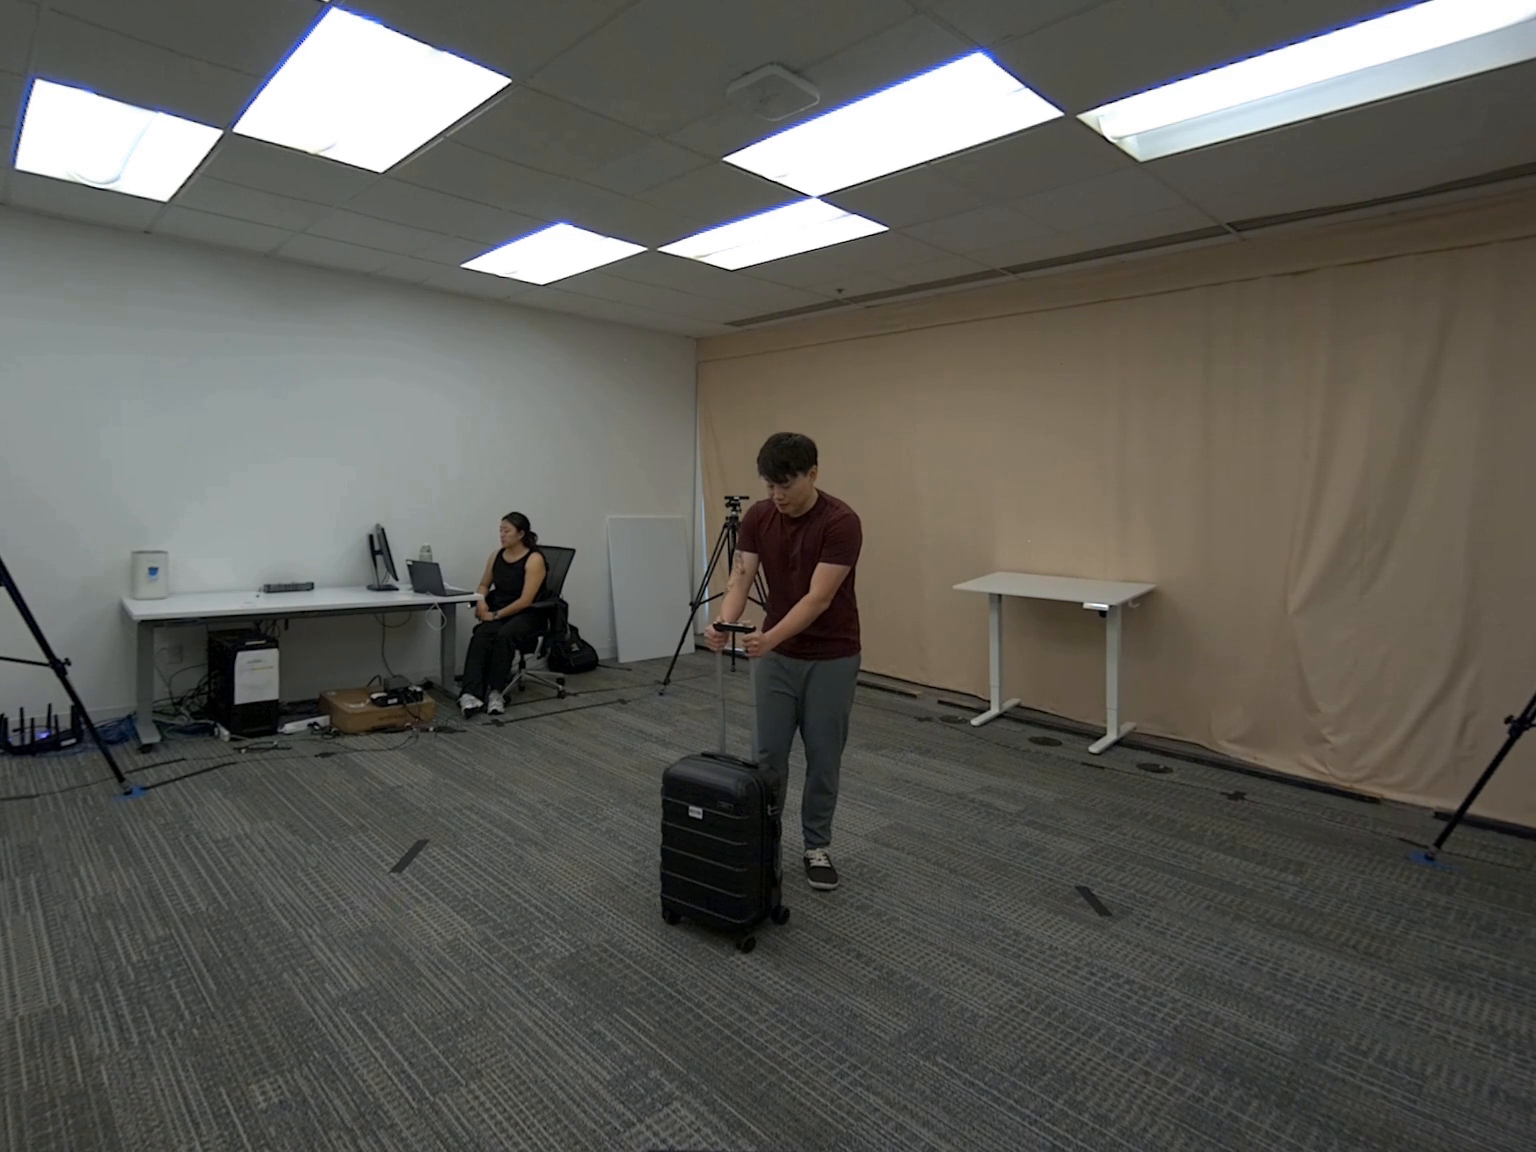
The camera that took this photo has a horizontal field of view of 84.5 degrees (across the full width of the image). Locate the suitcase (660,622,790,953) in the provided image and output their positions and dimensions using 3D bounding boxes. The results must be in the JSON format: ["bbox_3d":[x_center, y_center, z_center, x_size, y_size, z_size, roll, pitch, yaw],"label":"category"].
[{"bbox_3d":[-0.158,0.666,2.696,0.393,0.973,0.253,4,8,32],"label":"suitcase"}]
